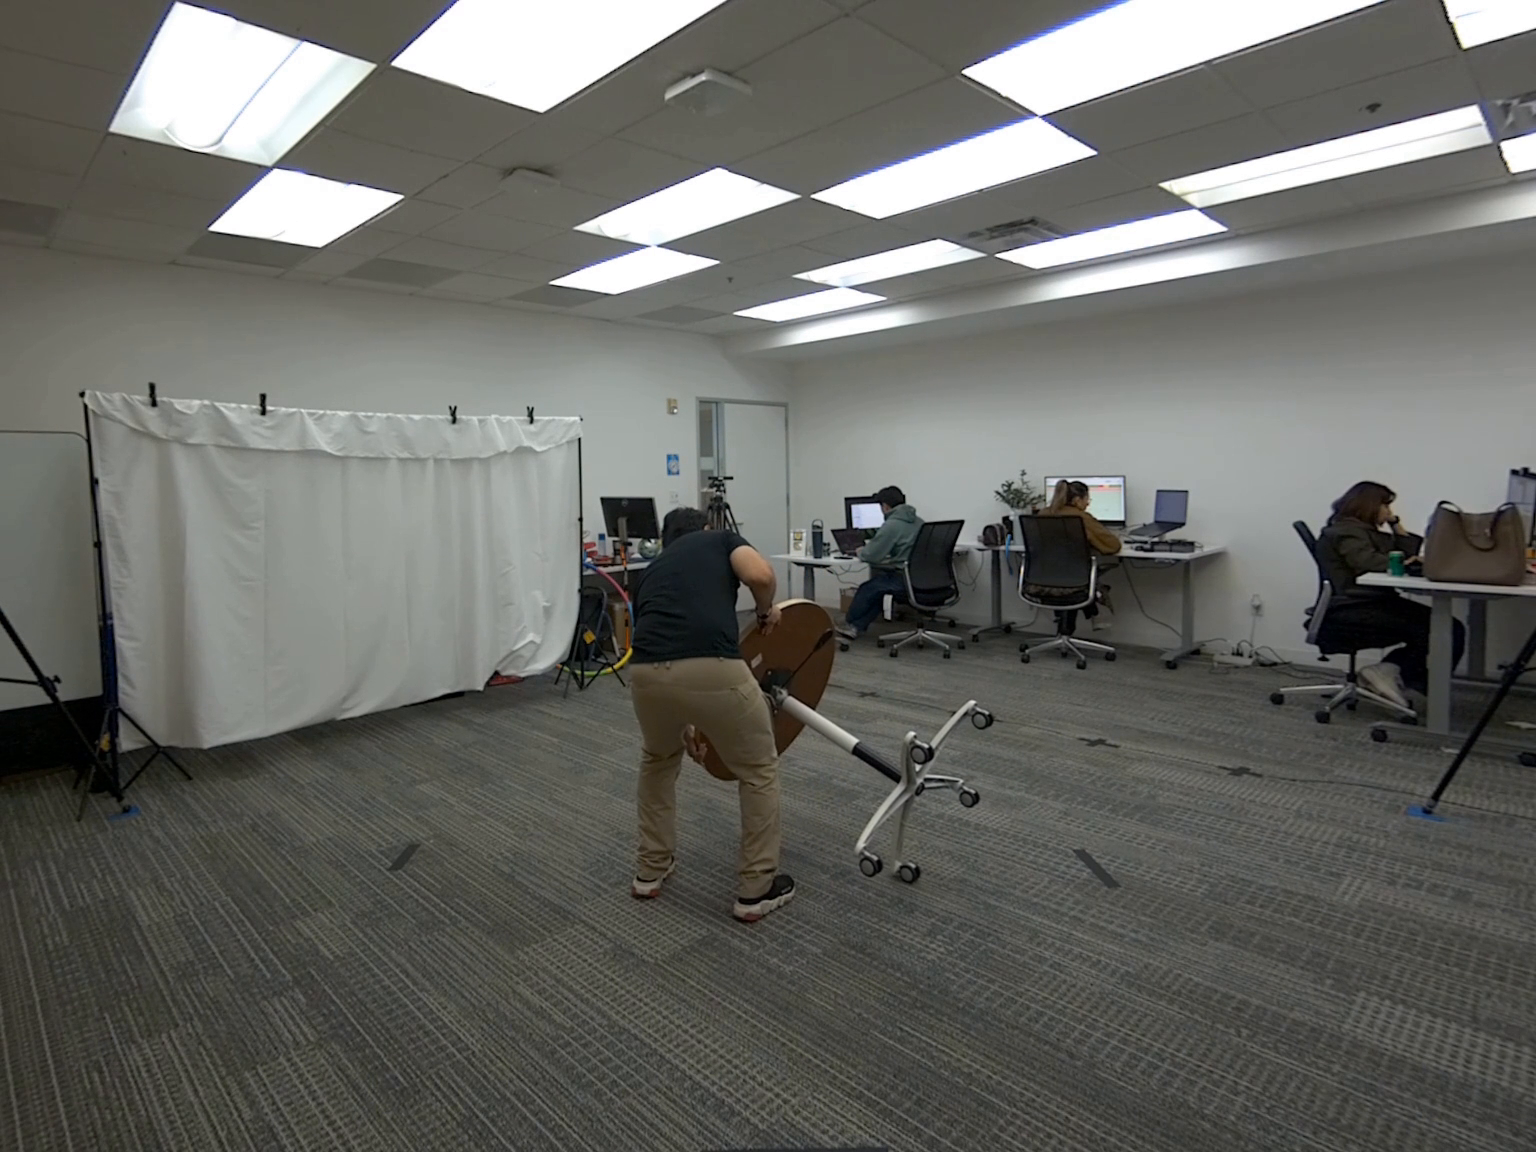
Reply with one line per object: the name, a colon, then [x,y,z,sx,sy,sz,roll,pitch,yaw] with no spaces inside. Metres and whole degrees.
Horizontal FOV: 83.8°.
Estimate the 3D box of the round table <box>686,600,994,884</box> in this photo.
round table: [0.290,0.584,3.055,0.816,0.776,0.765,27,22,37]
